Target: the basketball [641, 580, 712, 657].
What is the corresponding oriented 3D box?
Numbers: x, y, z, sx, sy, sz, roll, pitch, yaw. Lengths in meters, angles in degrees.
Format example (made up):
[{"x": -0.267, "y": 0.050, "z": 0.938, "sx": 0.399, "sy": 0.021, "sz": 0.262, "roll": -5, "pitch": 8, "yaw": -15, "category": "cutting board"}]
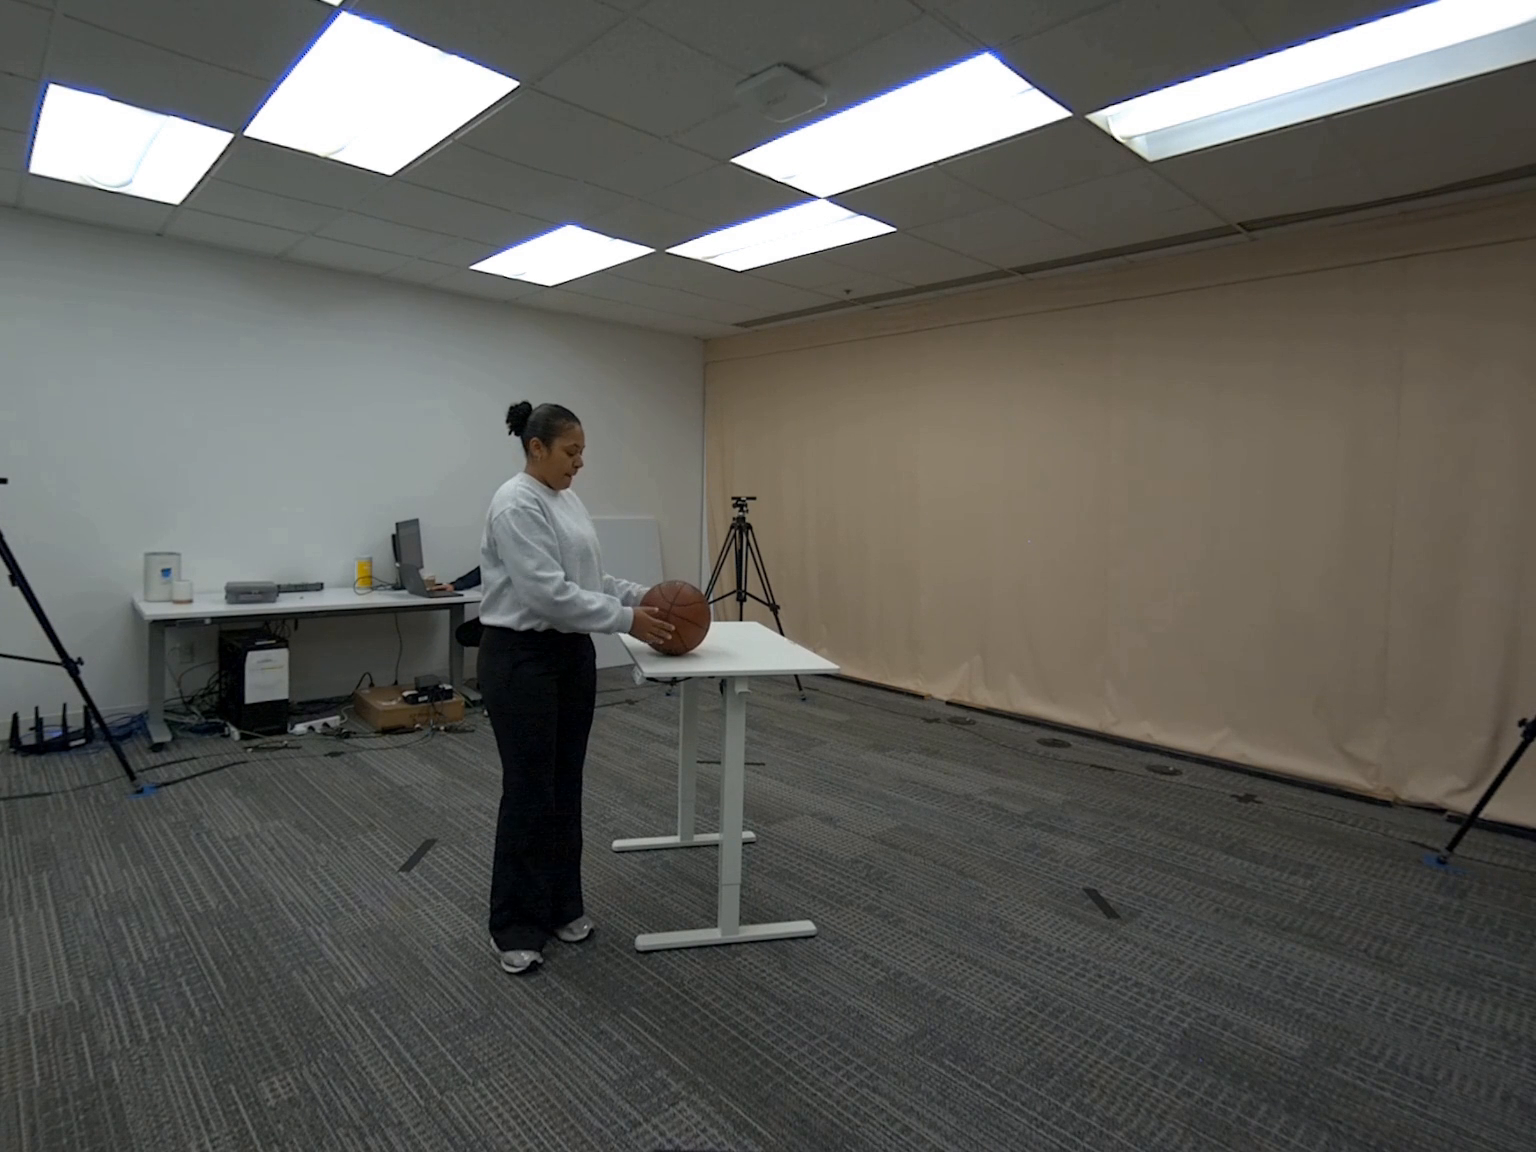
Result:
[{"x": -0.313, "y": 0.134, "z": 2.706, "sx": 0.236, "sy": 0.235, "sz": 0.237, "roll": 1, "pitch": 4, "yaw": -1, "category": "basketball"}]
